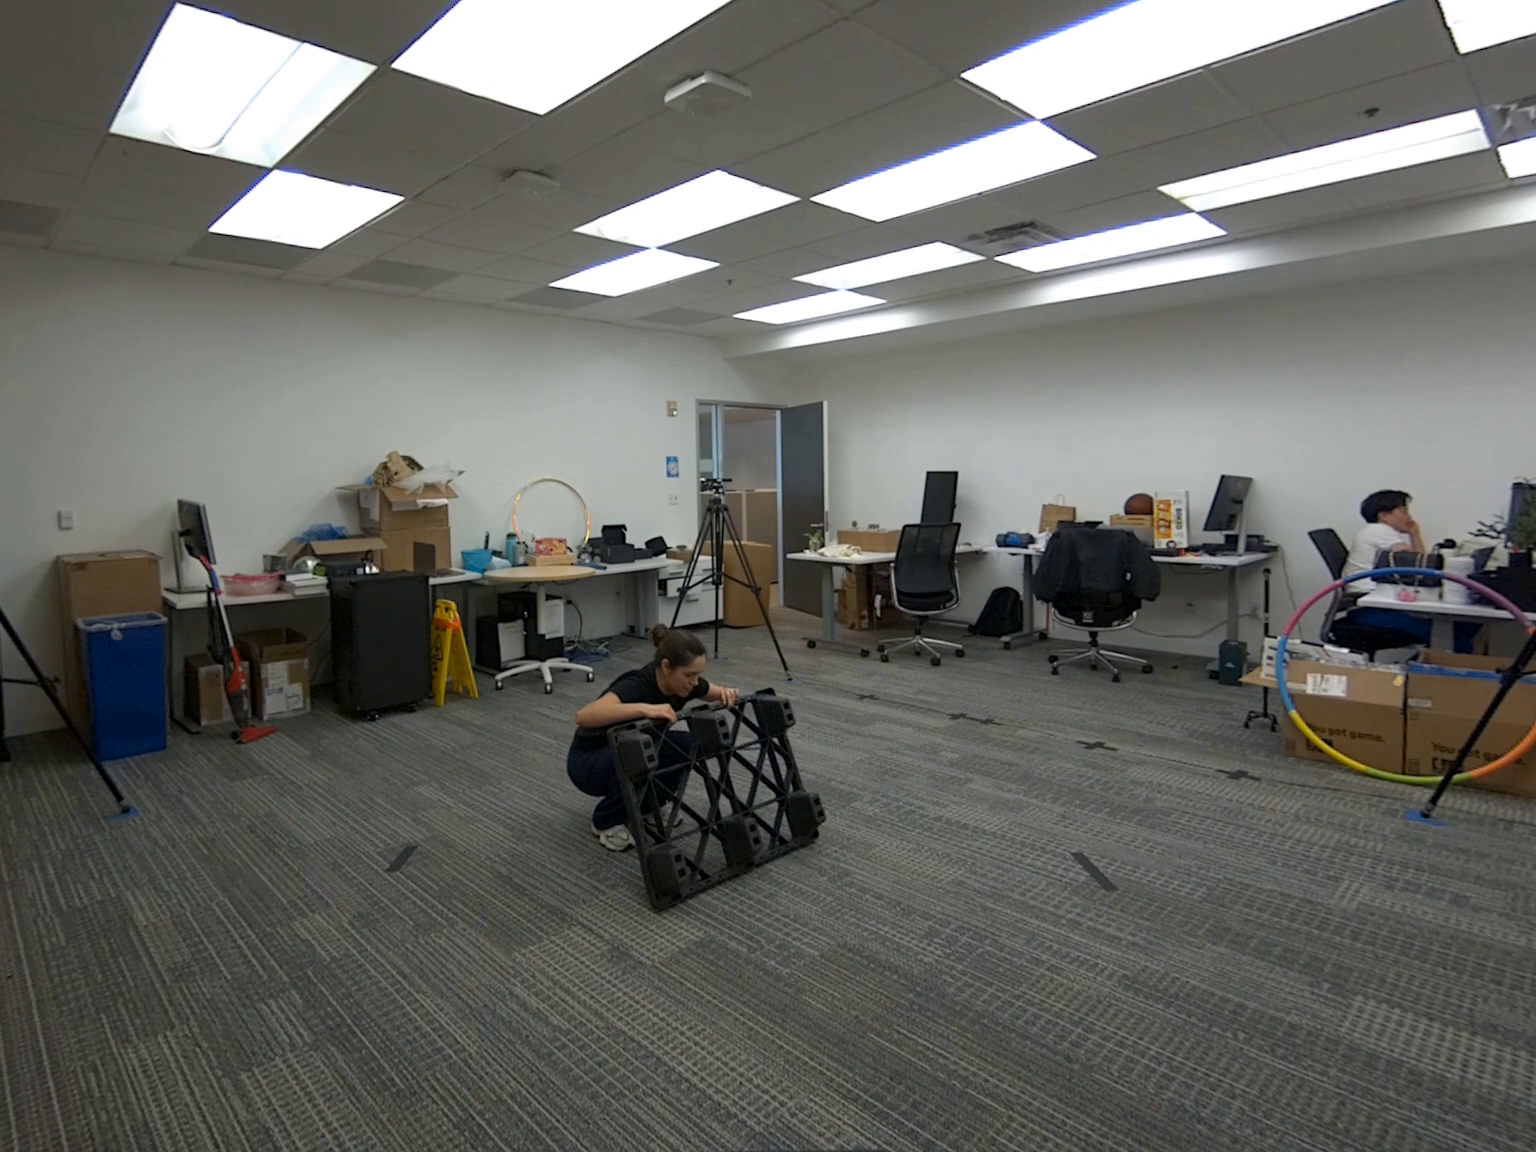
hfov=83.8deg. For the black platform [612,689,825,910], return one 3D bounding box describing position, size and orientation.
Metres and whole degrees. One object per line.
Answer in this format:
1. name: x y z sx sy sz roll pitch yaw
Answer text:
1. black platform: -0.144 0.745 3.077 0.785 0.614 0.145 -7 -16 -44
